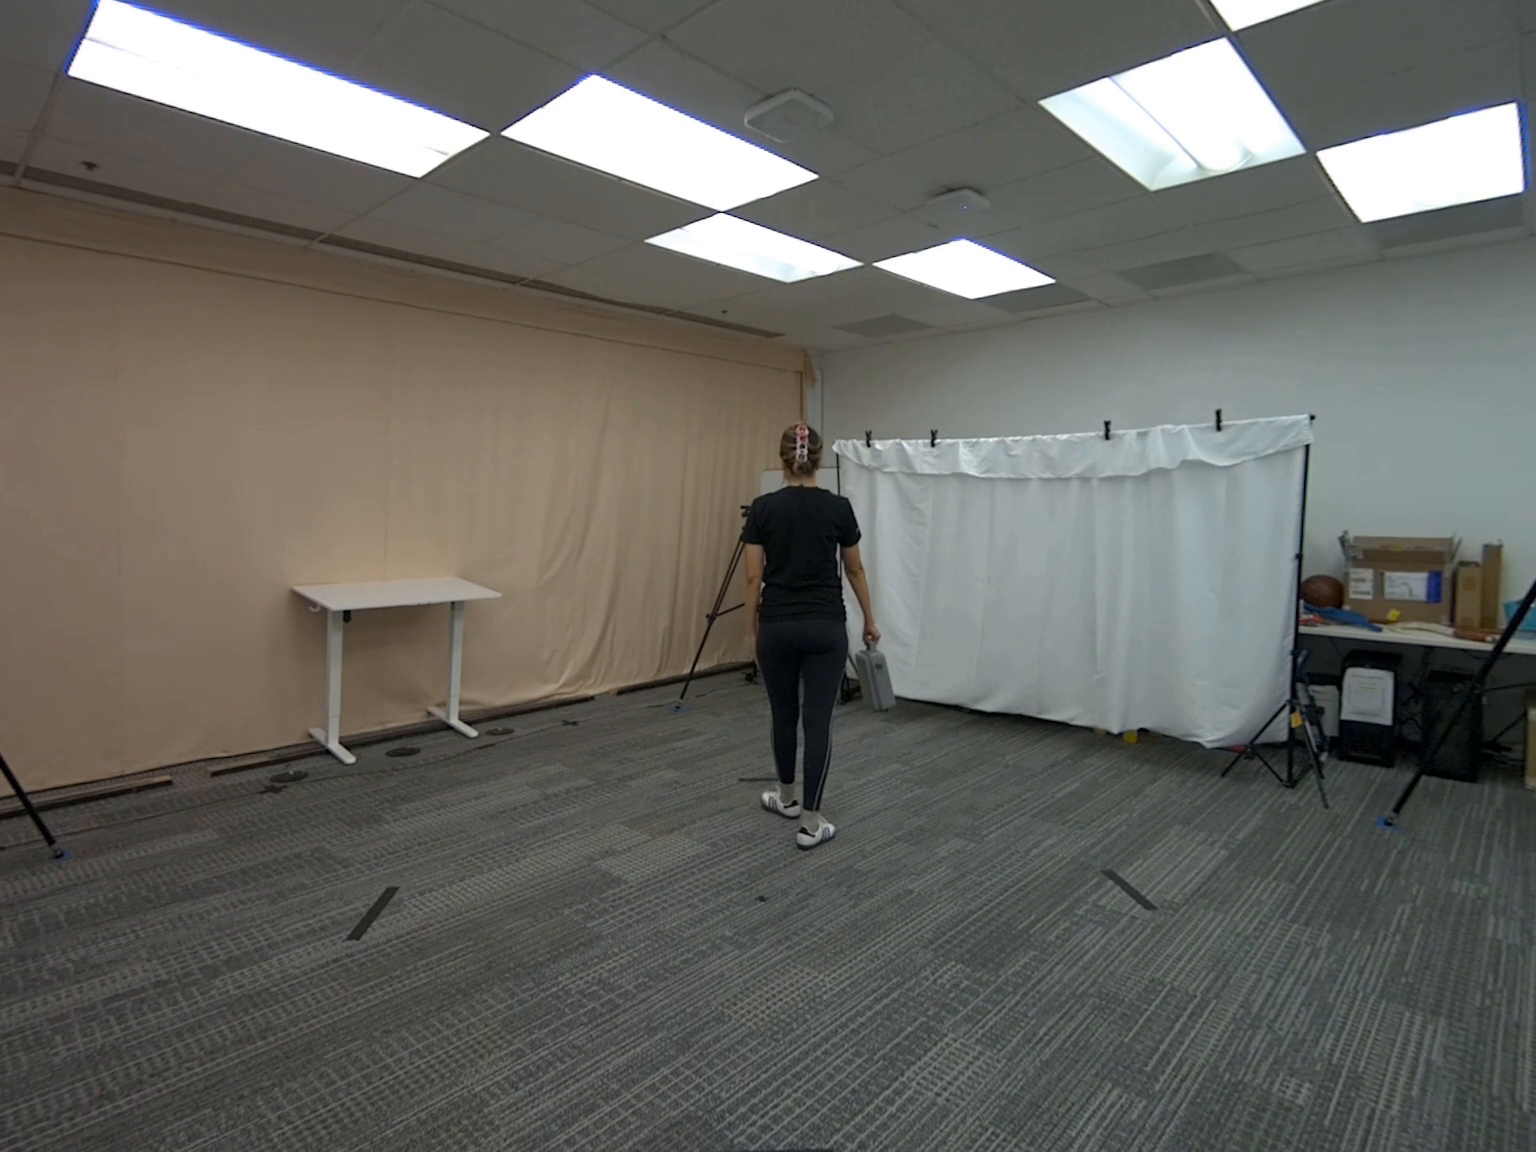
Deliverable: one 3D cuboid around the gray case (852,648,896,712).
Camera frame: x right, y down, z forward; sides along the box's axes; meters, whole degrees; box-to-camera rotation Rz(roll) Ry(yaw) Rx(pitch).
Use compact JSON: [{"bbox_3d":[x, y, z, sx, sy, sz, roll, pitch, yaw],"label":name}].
[{"bbox_3d":[0.466,0.450,3.750,0.104,0.260,0.257,-10,1,-2],"label":"gray case"}]
